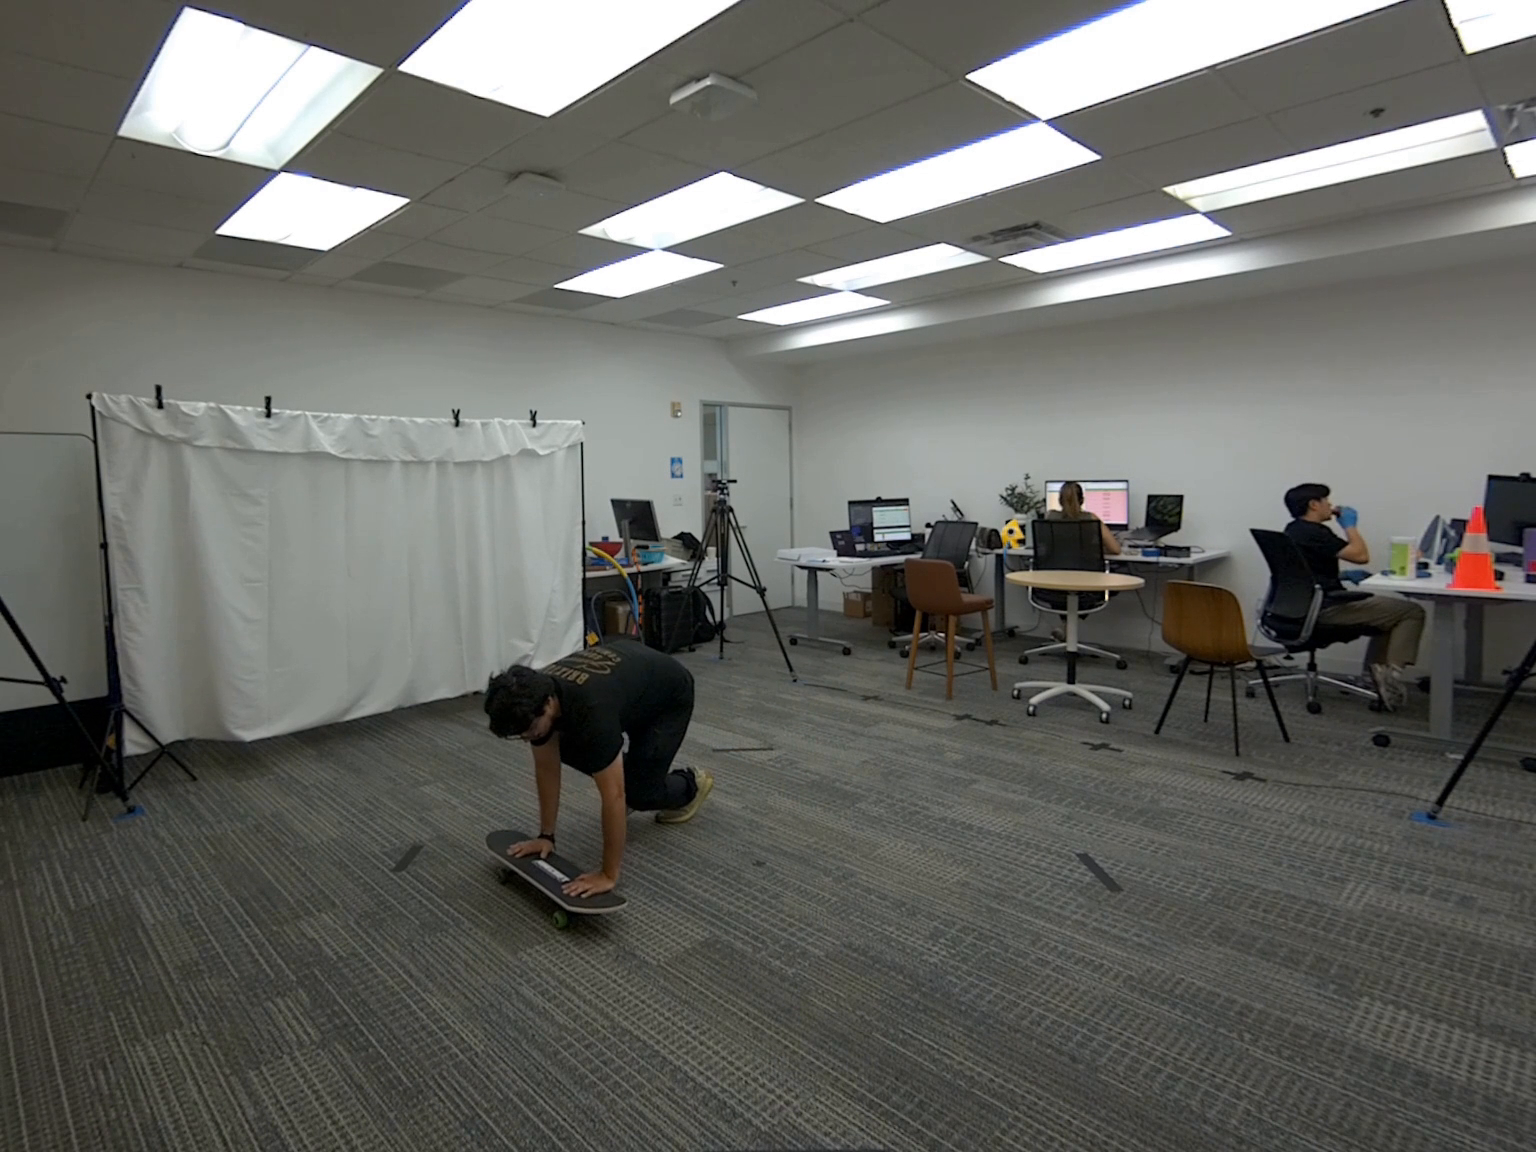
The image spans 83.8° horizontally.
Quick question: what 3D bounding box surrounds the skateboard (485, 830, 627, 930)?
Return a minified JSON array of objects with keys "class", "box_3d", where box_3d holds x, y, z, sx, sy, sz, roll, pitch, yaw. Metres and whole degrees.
[{"class":"skateboard","box_3d":[-0.734,1.030,2.895,0.188,0.110,0.810,2,3,-42]}]
